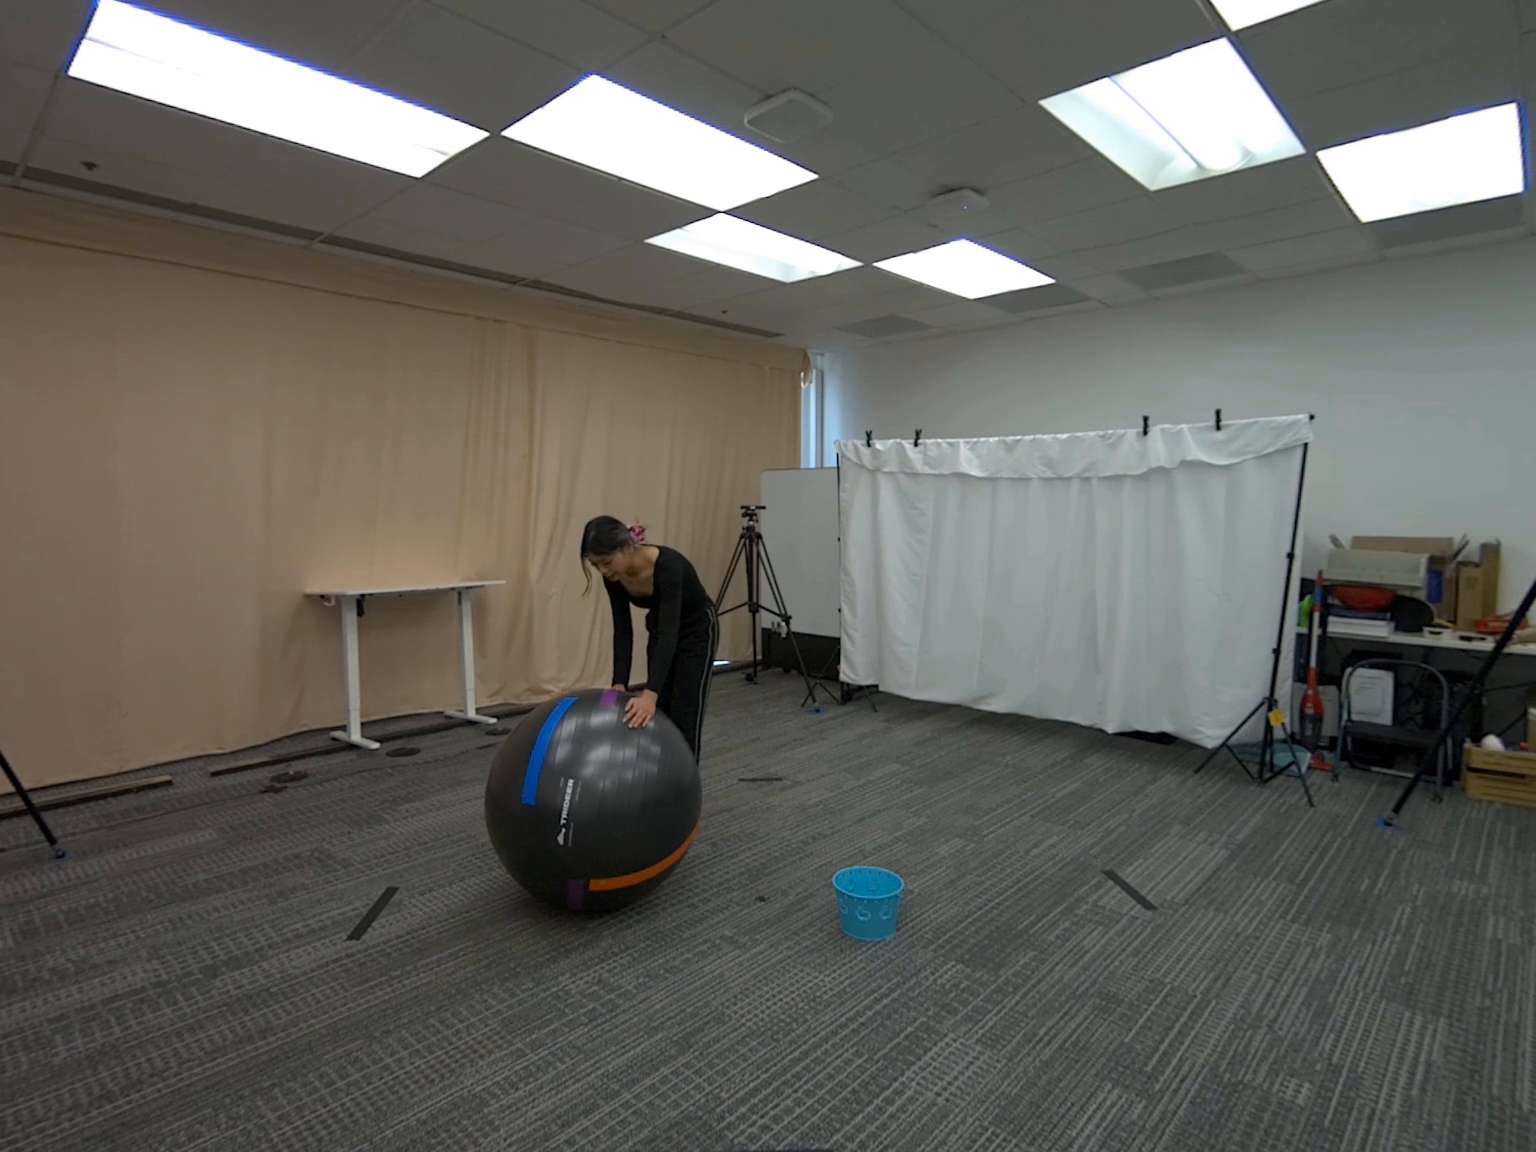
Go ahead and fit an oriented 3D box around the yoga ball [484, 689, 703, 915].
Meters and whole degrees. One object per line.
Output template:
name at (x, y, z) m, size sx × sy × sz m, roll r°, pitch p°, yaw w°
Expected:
yoga ball at (-0.614, 0.787, 2.995) m, size 0.757 × 0.756 × 0.760 m, roll 0°, pitch 4°, yaw -2°
